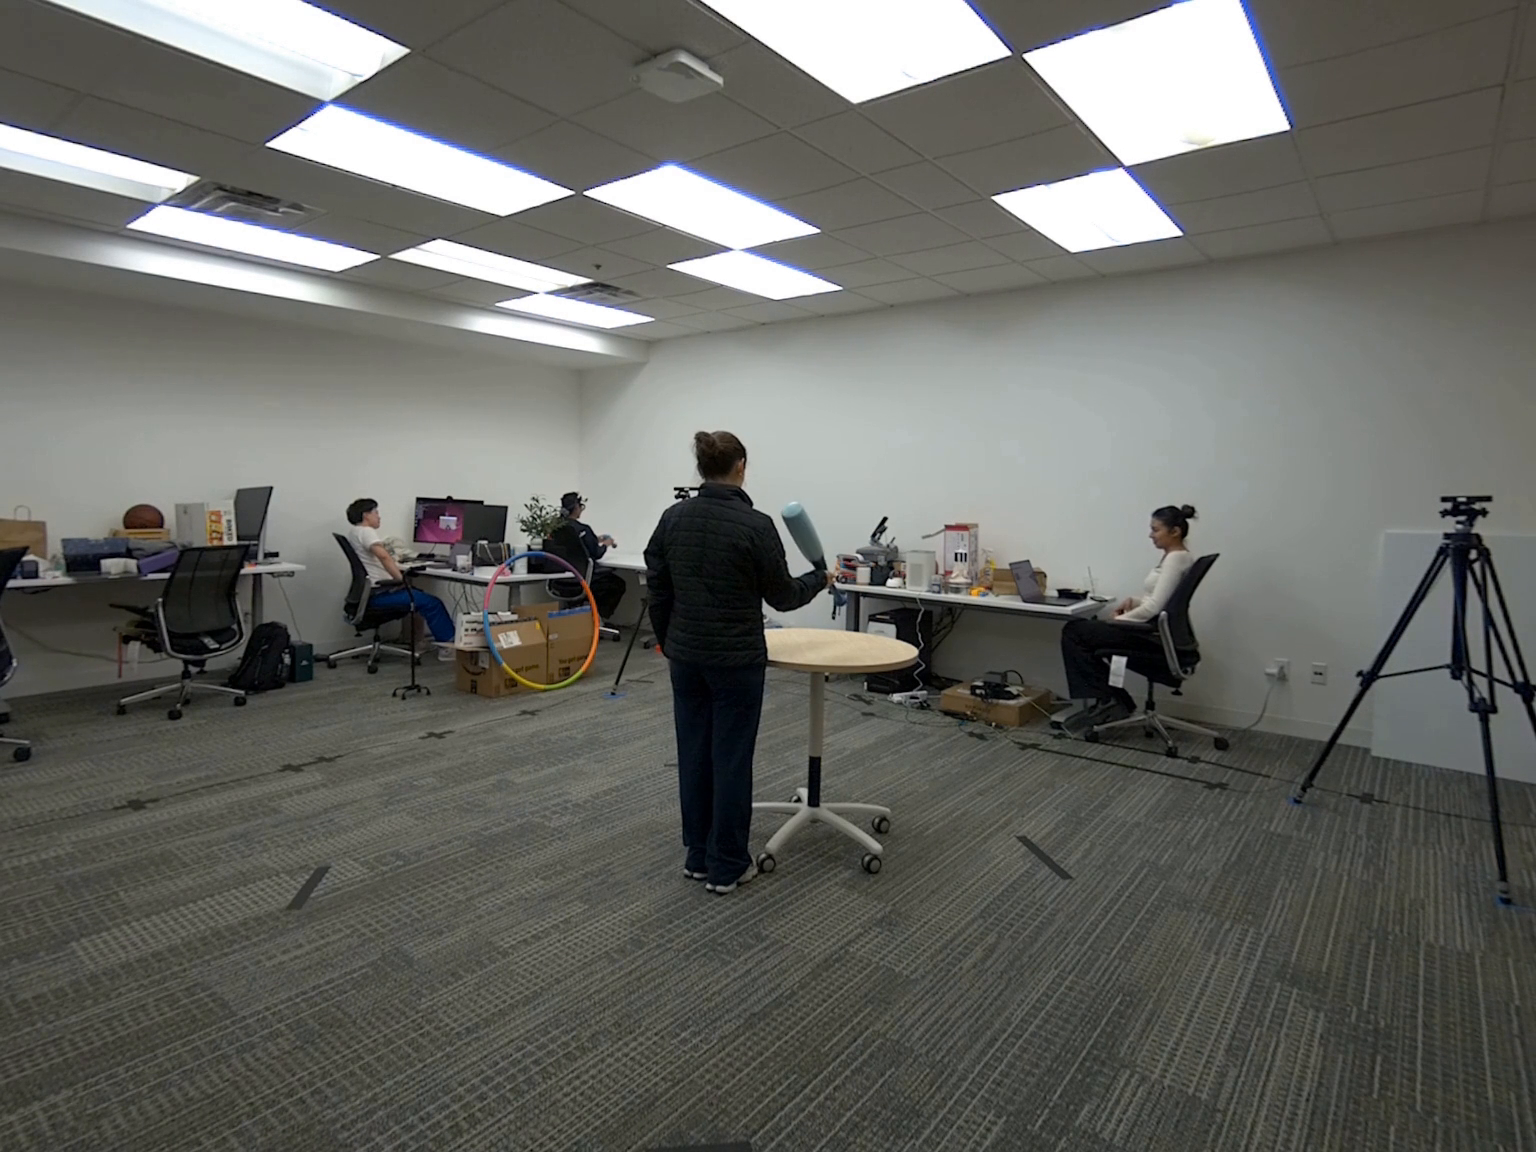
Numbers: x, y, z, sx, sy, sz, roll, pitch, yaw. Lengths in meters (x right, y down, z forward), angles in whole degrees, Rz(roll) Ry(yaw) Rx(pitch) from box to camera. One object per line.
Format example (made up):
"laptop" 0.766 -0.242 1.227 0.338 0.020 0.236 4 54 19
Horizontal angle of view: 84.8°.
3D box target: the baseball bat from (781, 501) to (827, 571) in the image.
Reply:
"baseball bat" 0.195 -0.067 3.211 0.092 0.090 0.522 4 -40 37
